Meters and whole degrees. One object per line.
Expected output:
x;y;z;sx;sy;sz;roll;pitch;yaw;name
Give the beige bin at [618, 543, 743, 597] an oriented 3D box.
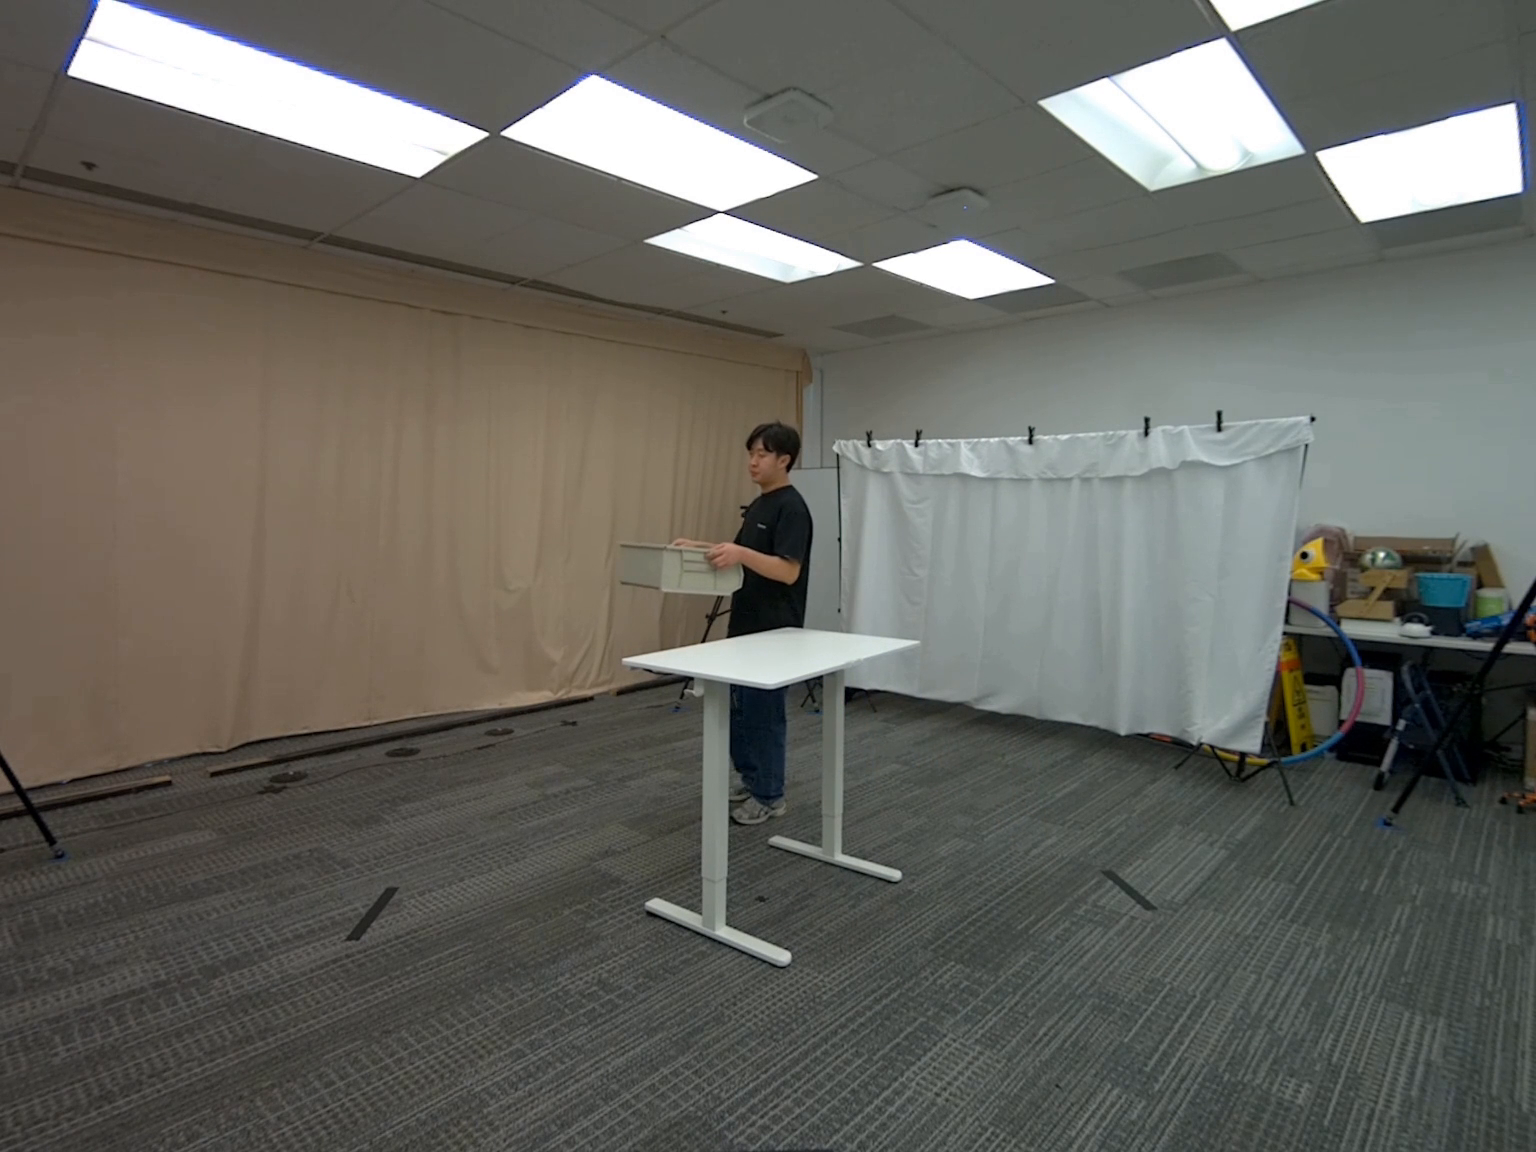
-0.369;-0.028;3.480;0.366;0.189;0.435;4;2;-34;beige bin
